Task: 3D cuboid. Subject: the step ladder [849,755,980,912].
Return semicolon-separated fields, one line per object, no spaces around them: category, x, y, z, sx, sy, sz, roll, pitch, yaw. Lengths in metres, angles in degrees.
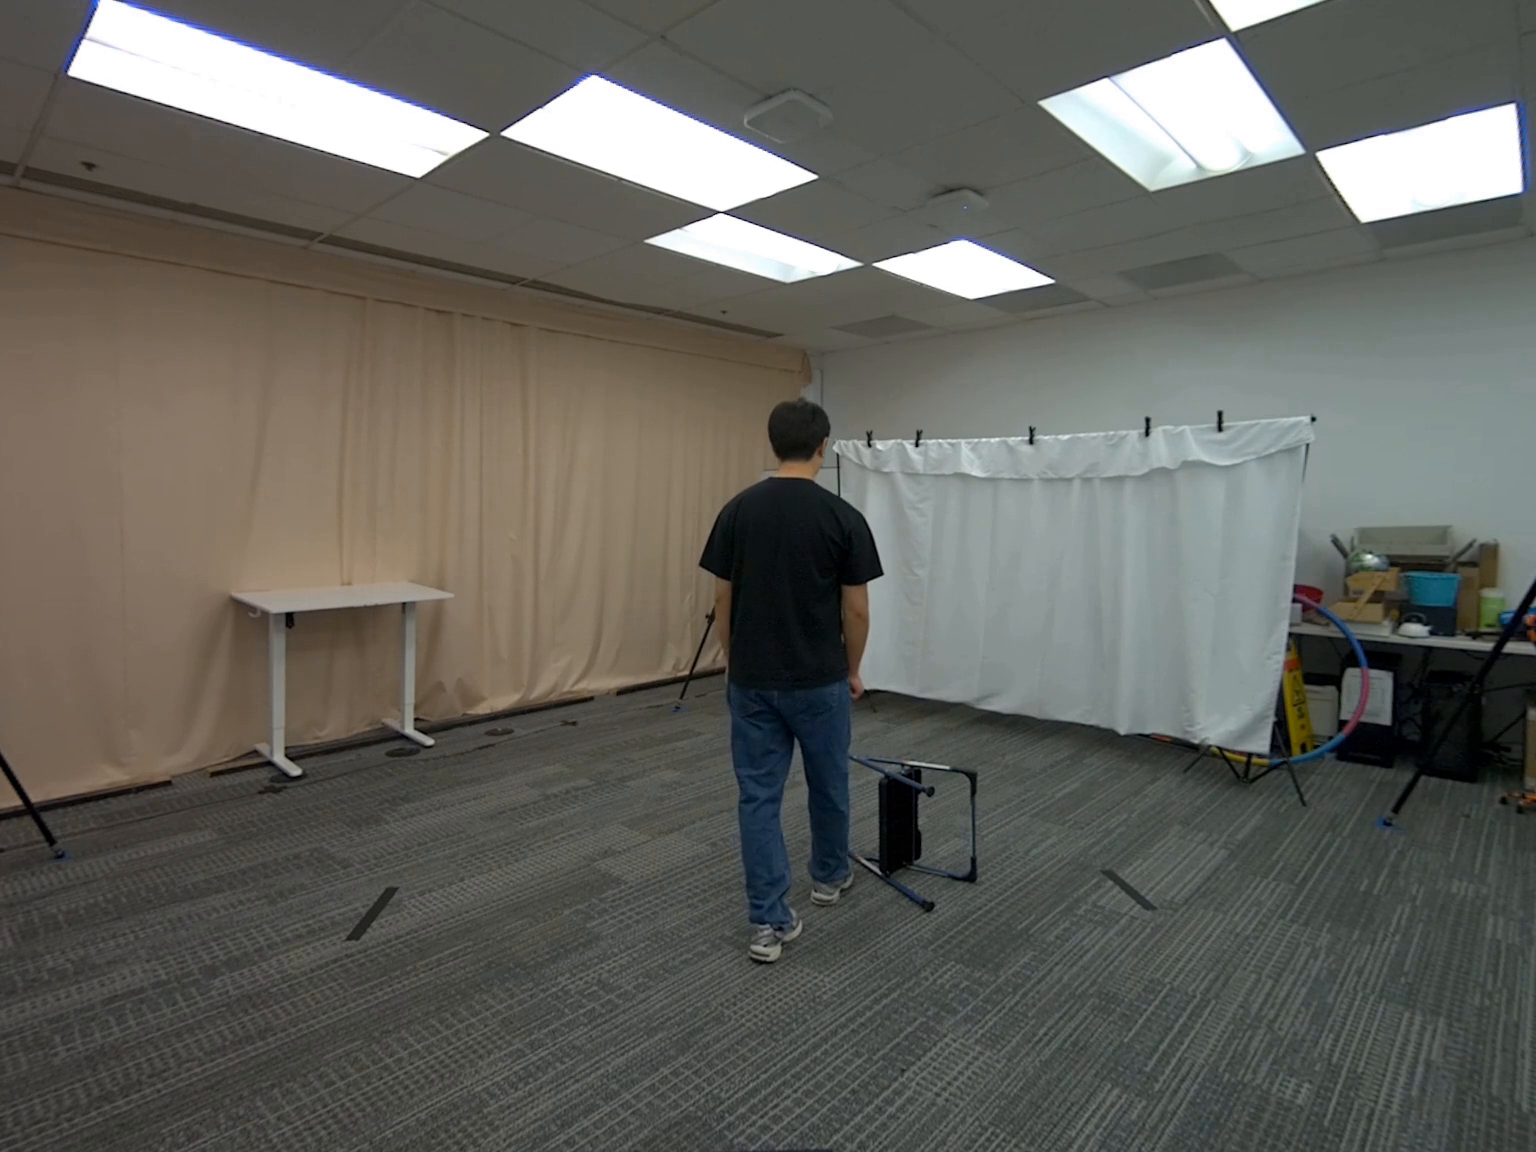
step ladder;0.446;0.914;3.198;0.626;0.430;0.338;3;4;44
